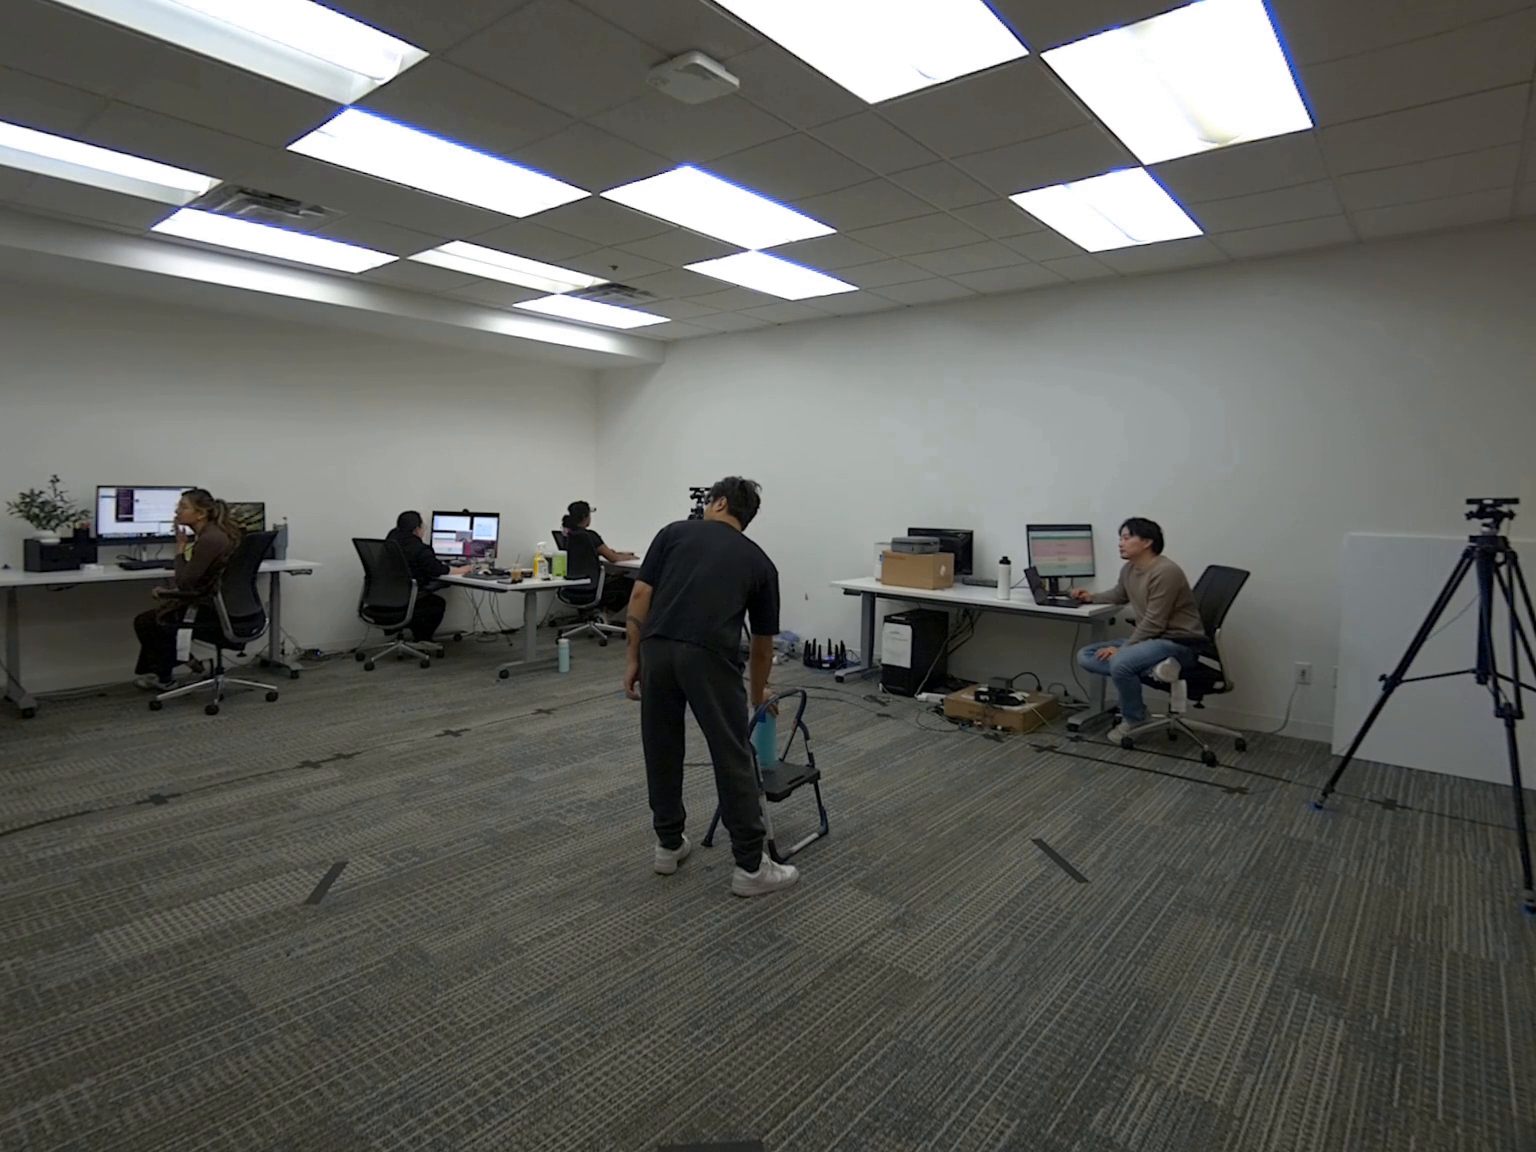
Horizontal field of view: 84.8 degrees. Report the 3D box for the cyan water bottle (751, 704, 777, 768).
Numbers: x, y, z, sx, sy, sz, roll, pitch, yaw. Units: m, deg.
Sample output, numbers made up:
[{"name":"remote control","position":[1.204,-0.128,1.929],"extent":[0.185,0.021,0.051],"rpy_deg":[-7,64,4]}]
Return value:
[{"name":"cyan water bottle","position":[-0.021,0.599,3.414],"extent":[0.092,0.282,0.093],"rpy_deg":[1,4,-2]}]
